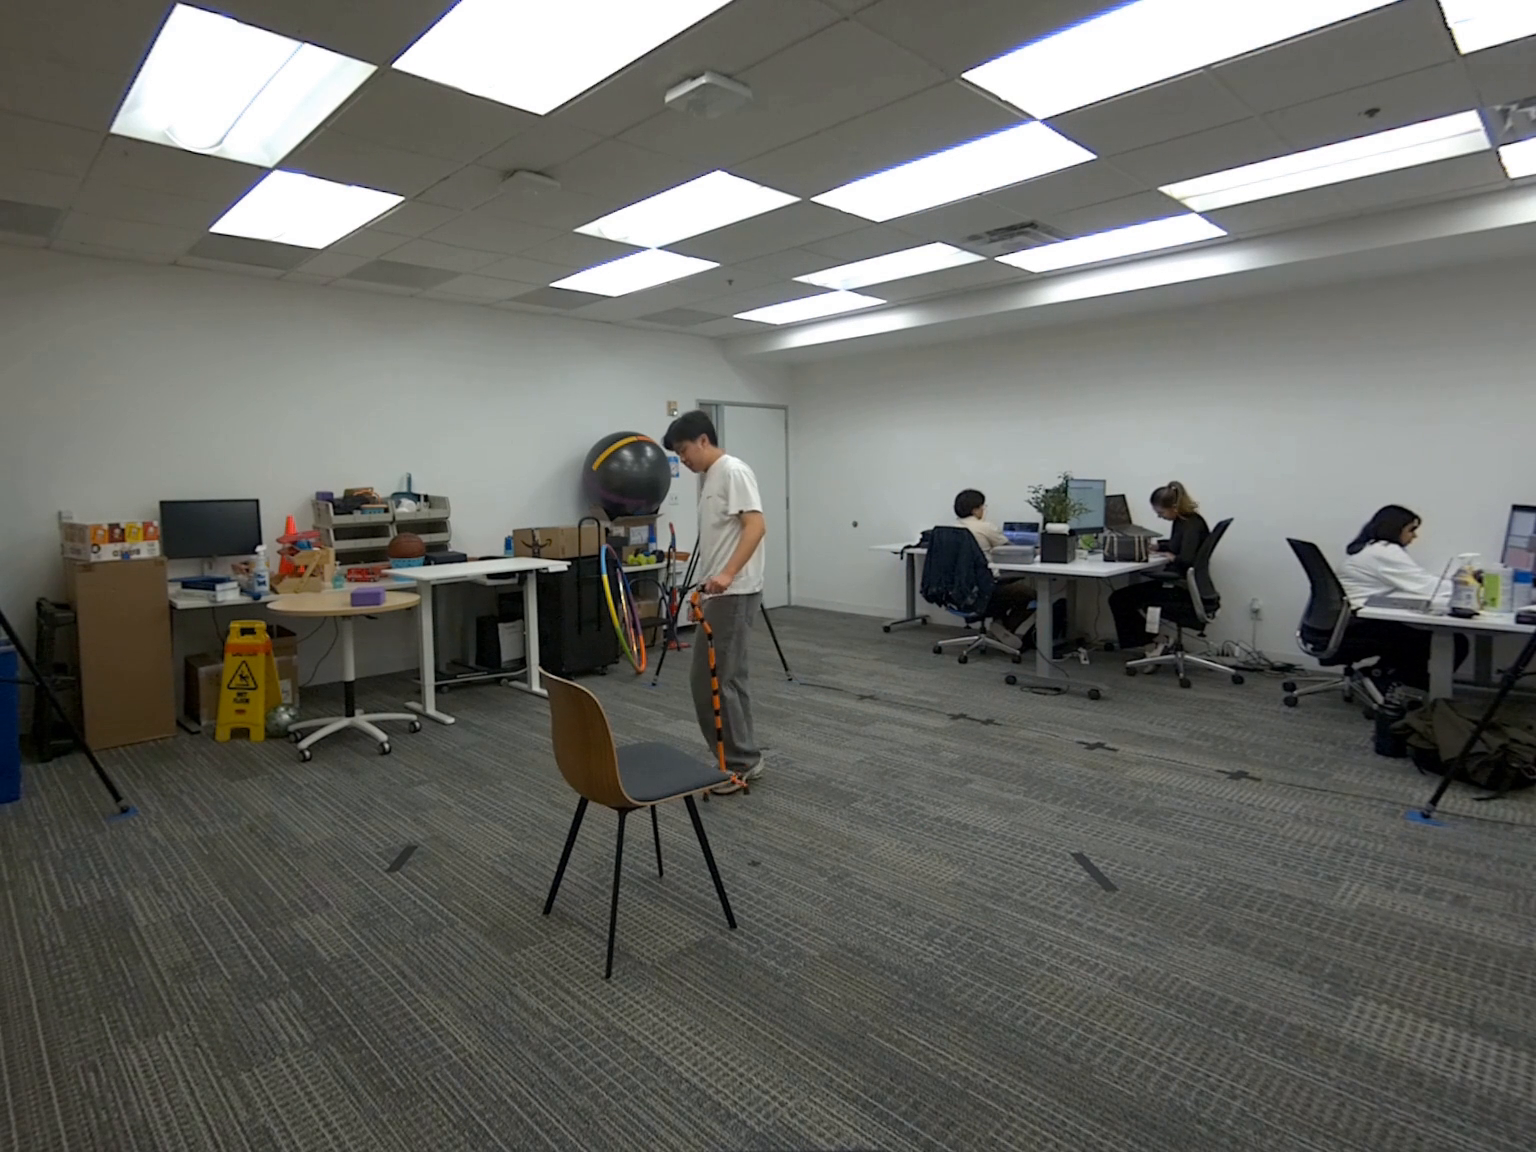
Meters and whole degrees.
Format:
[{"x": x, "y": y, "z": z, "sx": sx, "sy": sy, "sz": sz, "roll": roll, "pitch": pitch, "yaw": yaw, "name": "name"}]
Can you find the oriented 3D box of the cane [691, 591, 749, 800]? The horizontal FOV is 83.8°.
[{"x": -0.235, "y": 0.494, "z": 3.646, "sx": 0.206, "sy": 0.902, "sz": 0.153, "roll": -4, "pitch": 6, "yaw": -3, "name": "cane"}]
